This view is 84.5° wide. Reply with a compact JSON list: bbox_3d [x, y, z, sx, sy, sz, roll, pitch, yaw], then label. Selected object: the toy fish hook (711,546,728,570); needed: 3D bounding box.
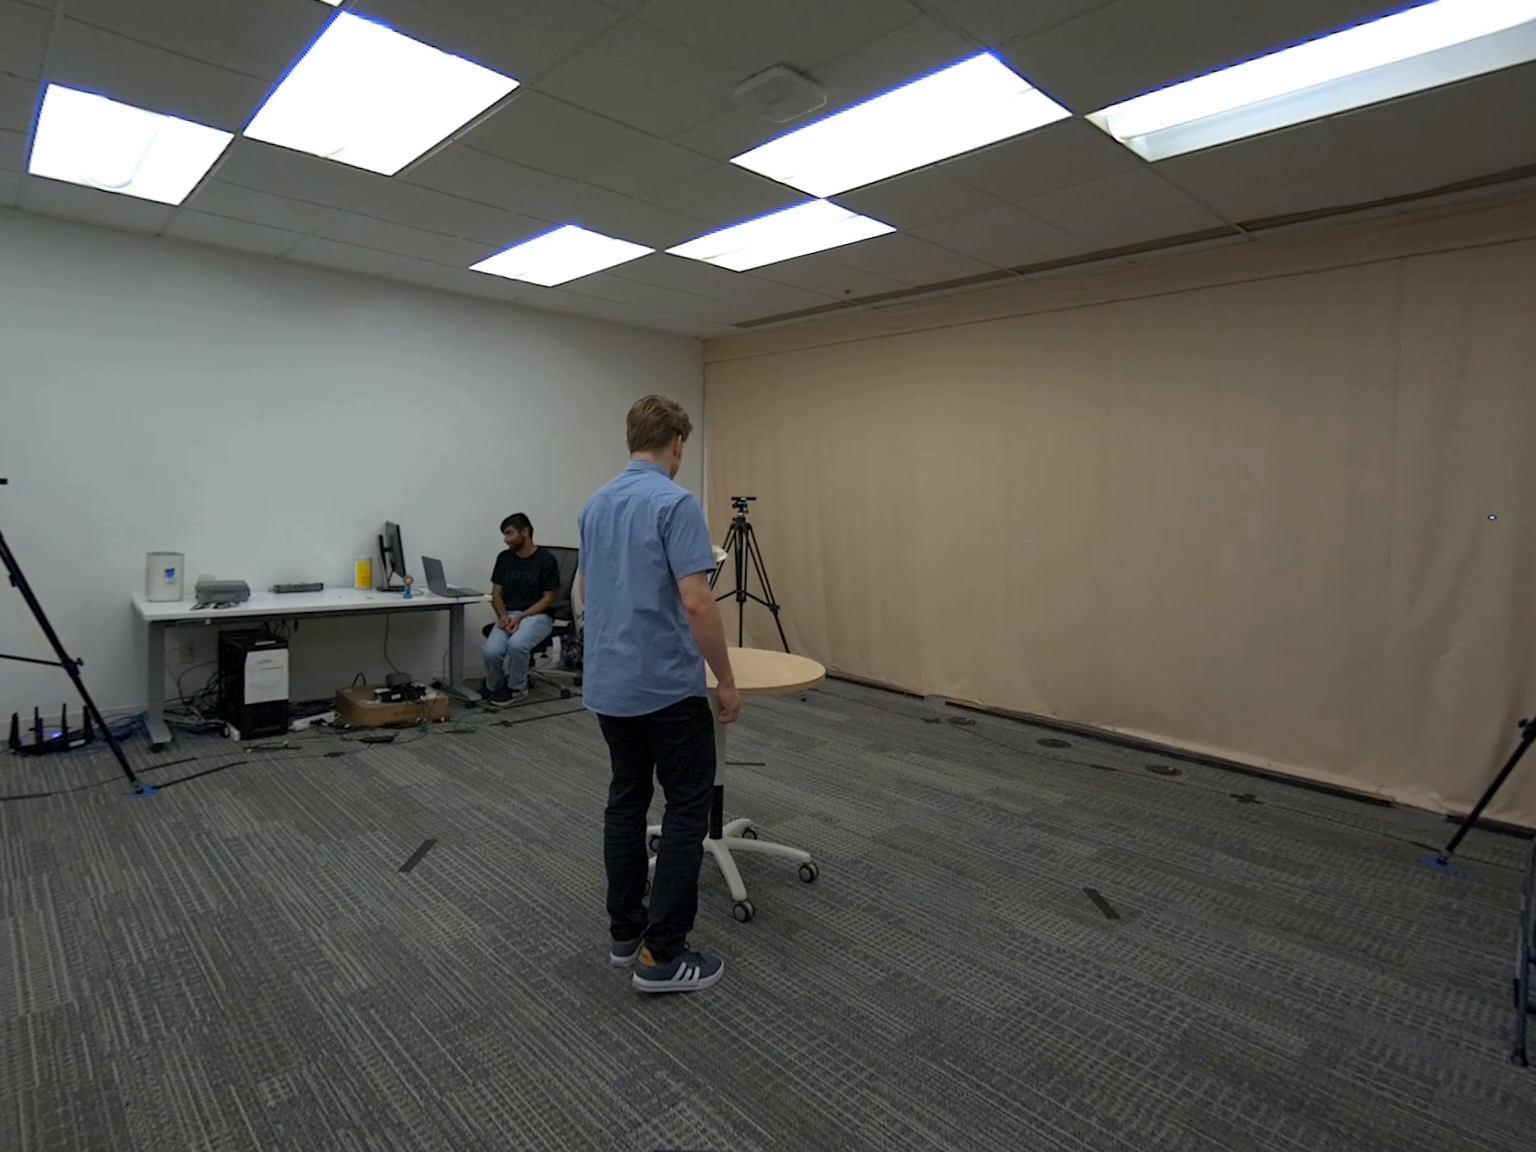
[{"bbox_3d":[-0.270,-0.029,3.043,0.226,0.047,0.512,-7,21,8],"label":"toy fish hook"}]
